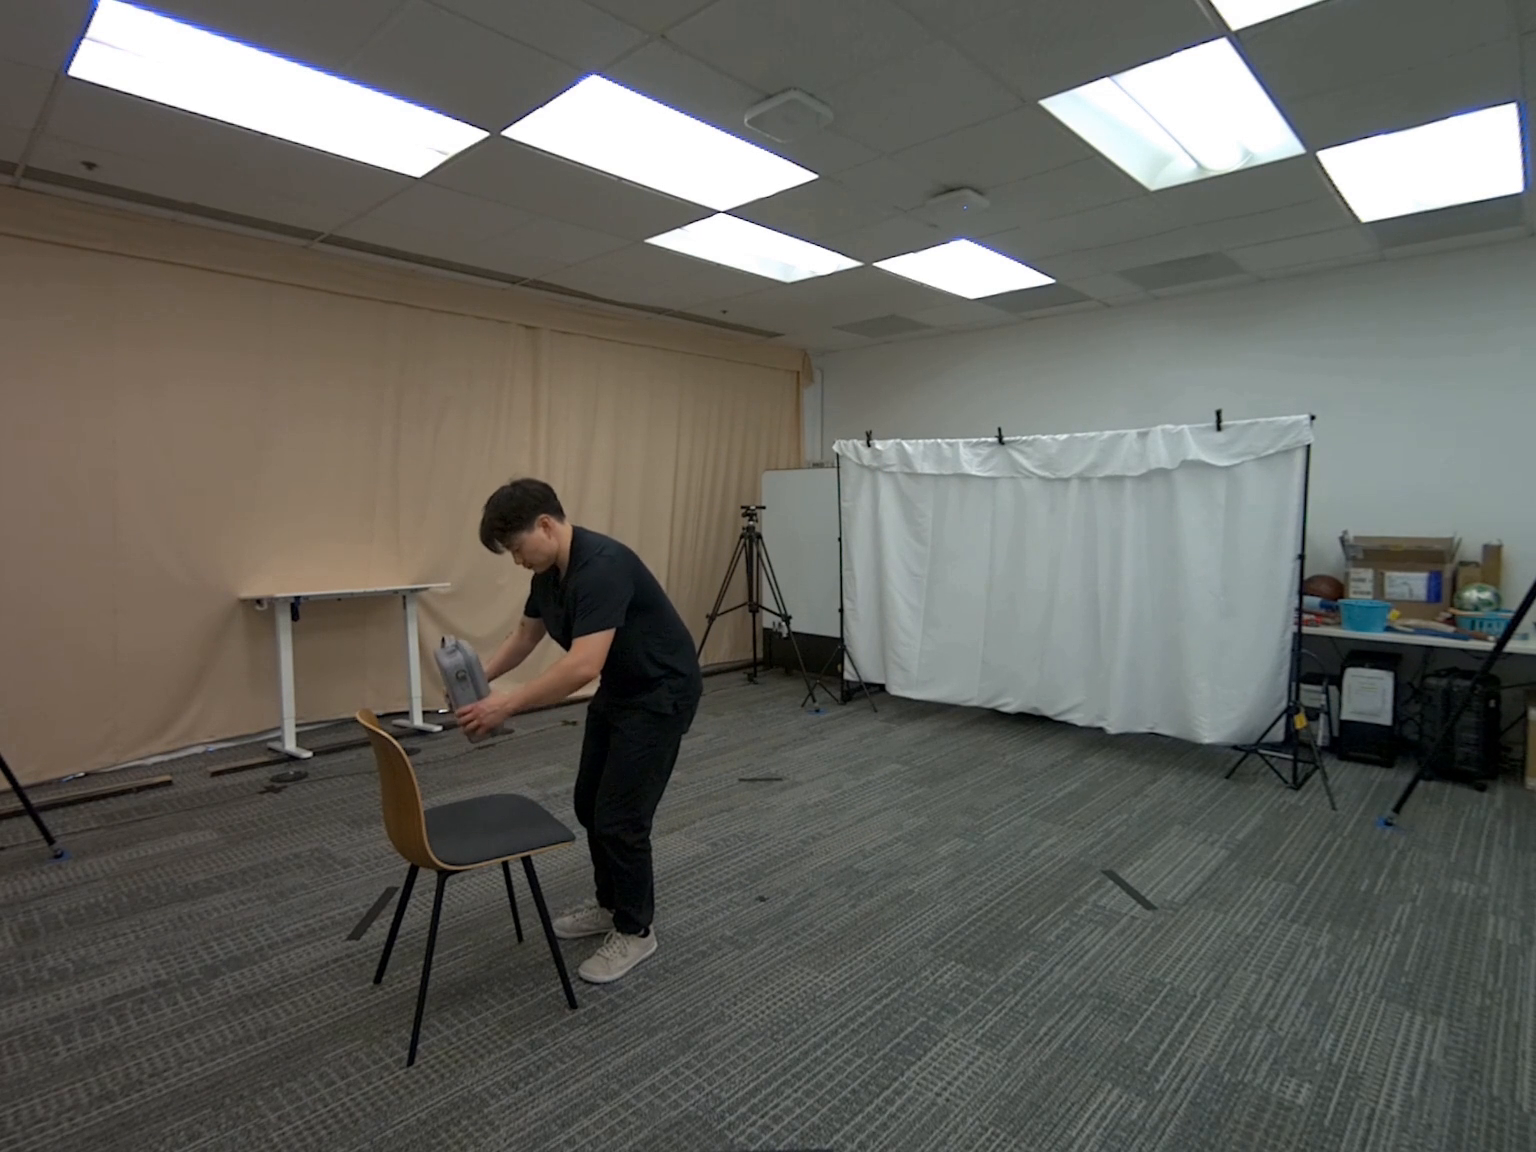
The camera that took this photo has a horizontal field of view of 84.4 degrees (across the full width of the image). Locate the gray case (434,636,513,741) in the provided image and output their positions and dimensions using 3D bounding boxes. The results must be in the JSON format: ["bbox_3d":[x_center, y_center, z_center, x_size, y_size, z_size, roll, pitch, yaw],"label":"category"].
[{"bbox_3d":[-0.851,0.317,2.373,0.103,0.257,0.264,-22,15,-23],"label":"gray case"}]
